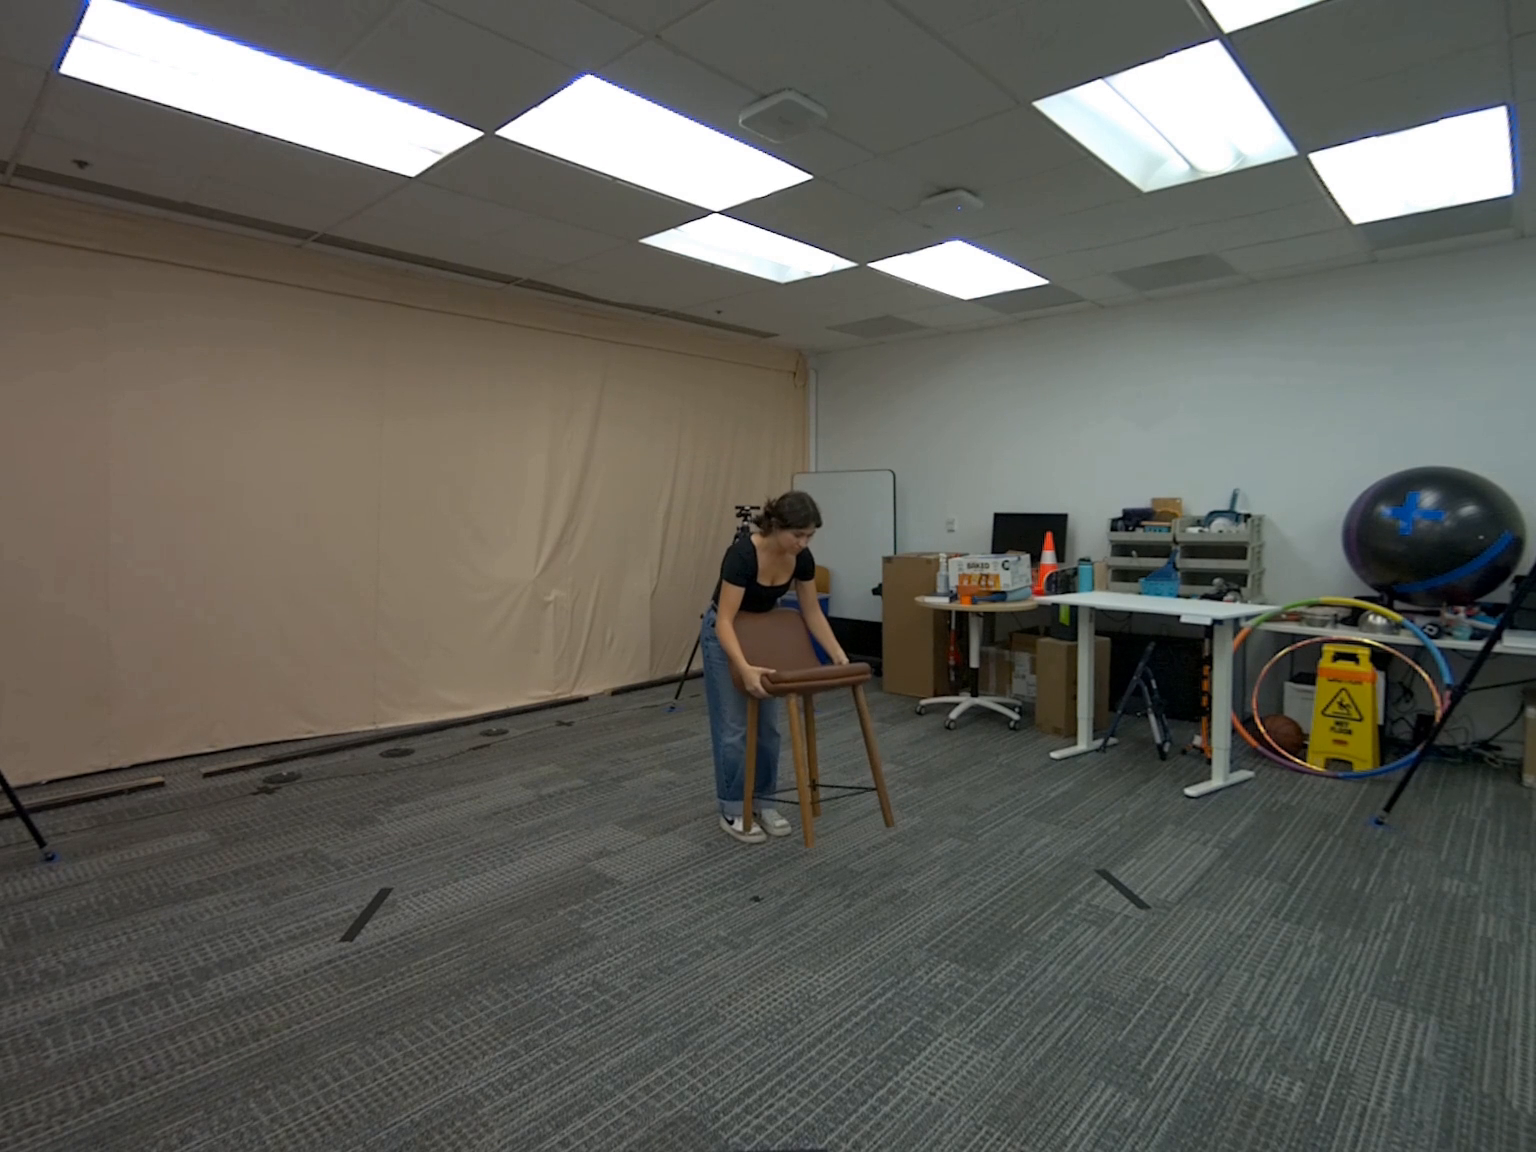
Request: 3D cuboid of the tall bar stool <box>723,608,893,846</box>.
[{"bbox_3d":[0.138,0.545,3.278,0.443,0.896,0.478,0,-12,-34],"label":"tall bar stool"}]
